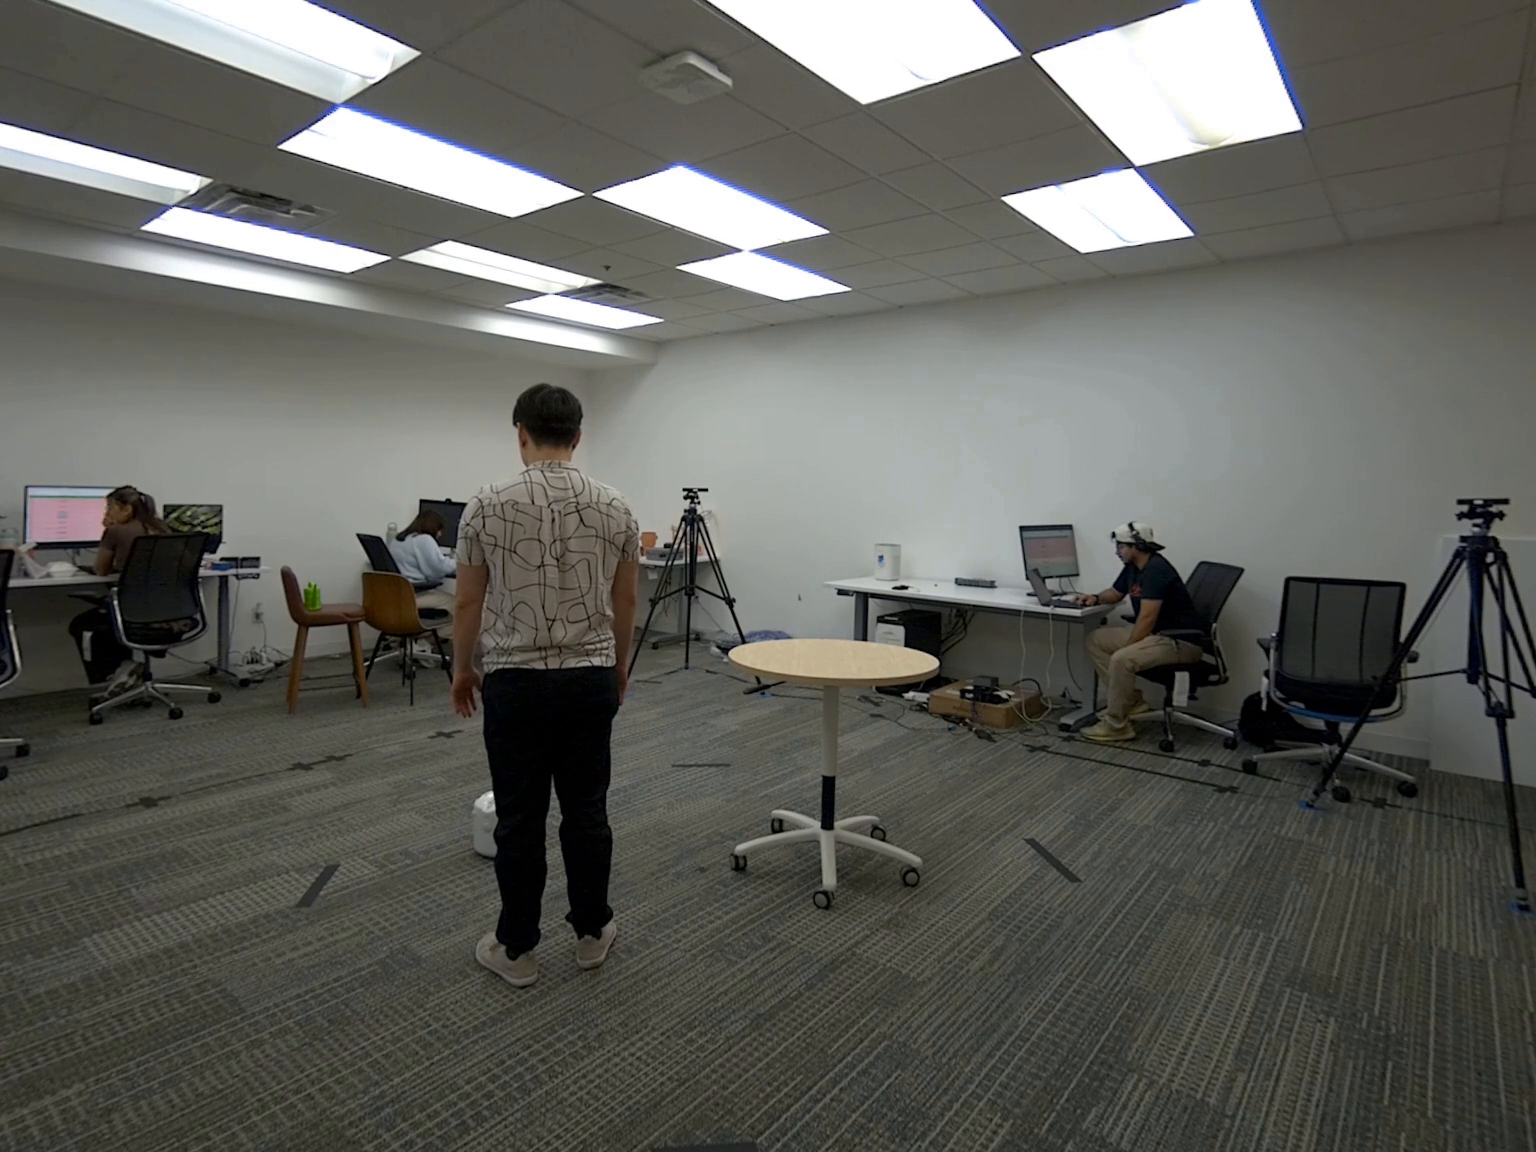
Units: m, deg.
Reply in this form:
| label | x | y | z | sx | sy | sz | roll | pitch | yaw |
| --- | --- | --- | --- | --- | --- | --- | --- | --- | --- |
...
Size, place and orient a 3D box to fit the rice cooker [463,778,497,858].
| label | x | y | z | sx | sy | sz | roll | pitch | yaw |
| --- | --- | --- | --- | --- | --- | --- | --- | --- | --- |
| rice cooker | -1.013 | 0.921 | 3.236 | 0.221 | 0.232 | 0.217 | 1 | 3 | 17 |
